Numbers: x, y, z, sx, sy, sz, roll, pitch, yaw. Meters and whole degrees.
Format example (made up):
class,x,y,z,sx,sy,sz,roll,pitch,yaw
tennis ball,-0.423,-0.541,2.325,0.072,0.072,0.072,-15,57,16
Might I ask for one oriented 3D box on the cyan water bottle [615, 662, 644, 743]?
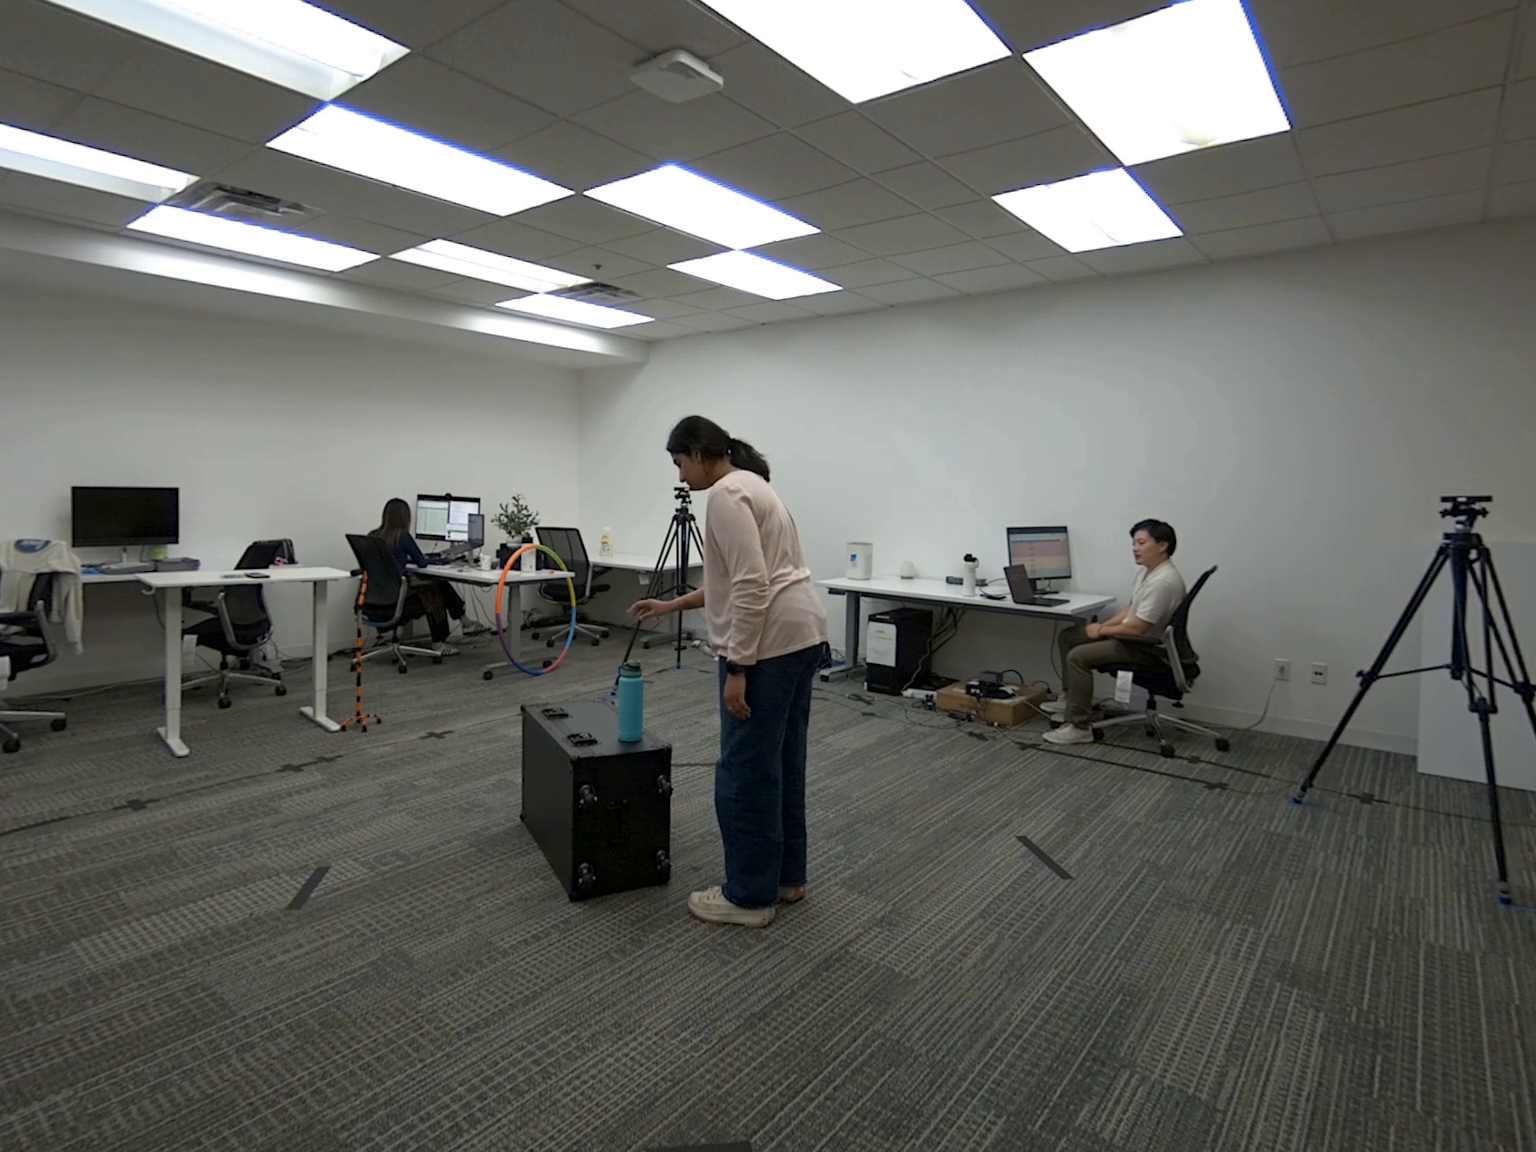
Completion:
class,x,y,z,sx,sy,sz,roll,pitch,yaw
cyan water bottle,-0.516,0.442,3.070,0.092,0.282,0.093,-1,3,-2
